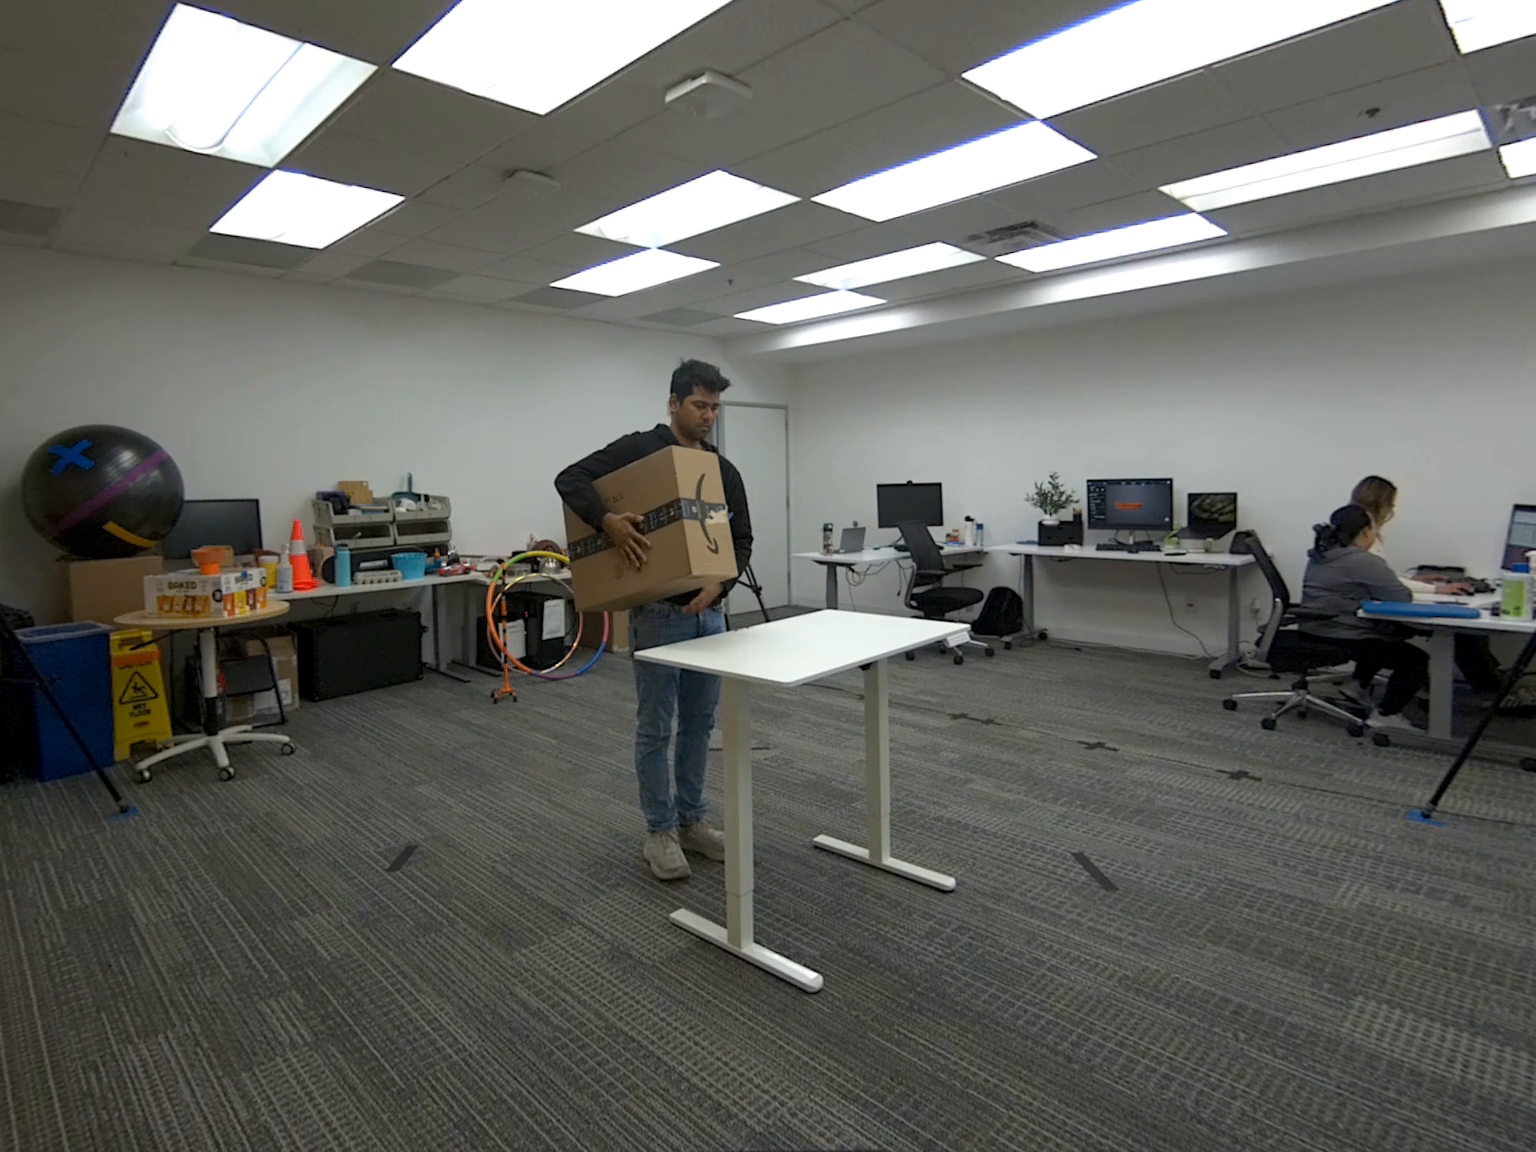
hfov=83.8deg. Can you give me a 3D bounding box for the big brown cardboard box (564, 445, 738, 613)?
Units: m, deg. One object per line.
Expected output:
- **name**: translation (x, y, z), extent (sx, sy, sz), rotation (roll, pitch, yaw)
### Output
- **big brown cardboard box**: translation (-0.415, -0.131, 2.857), extent (0.600, 0.422, 0.226), rotation (-17, -14, 40)
